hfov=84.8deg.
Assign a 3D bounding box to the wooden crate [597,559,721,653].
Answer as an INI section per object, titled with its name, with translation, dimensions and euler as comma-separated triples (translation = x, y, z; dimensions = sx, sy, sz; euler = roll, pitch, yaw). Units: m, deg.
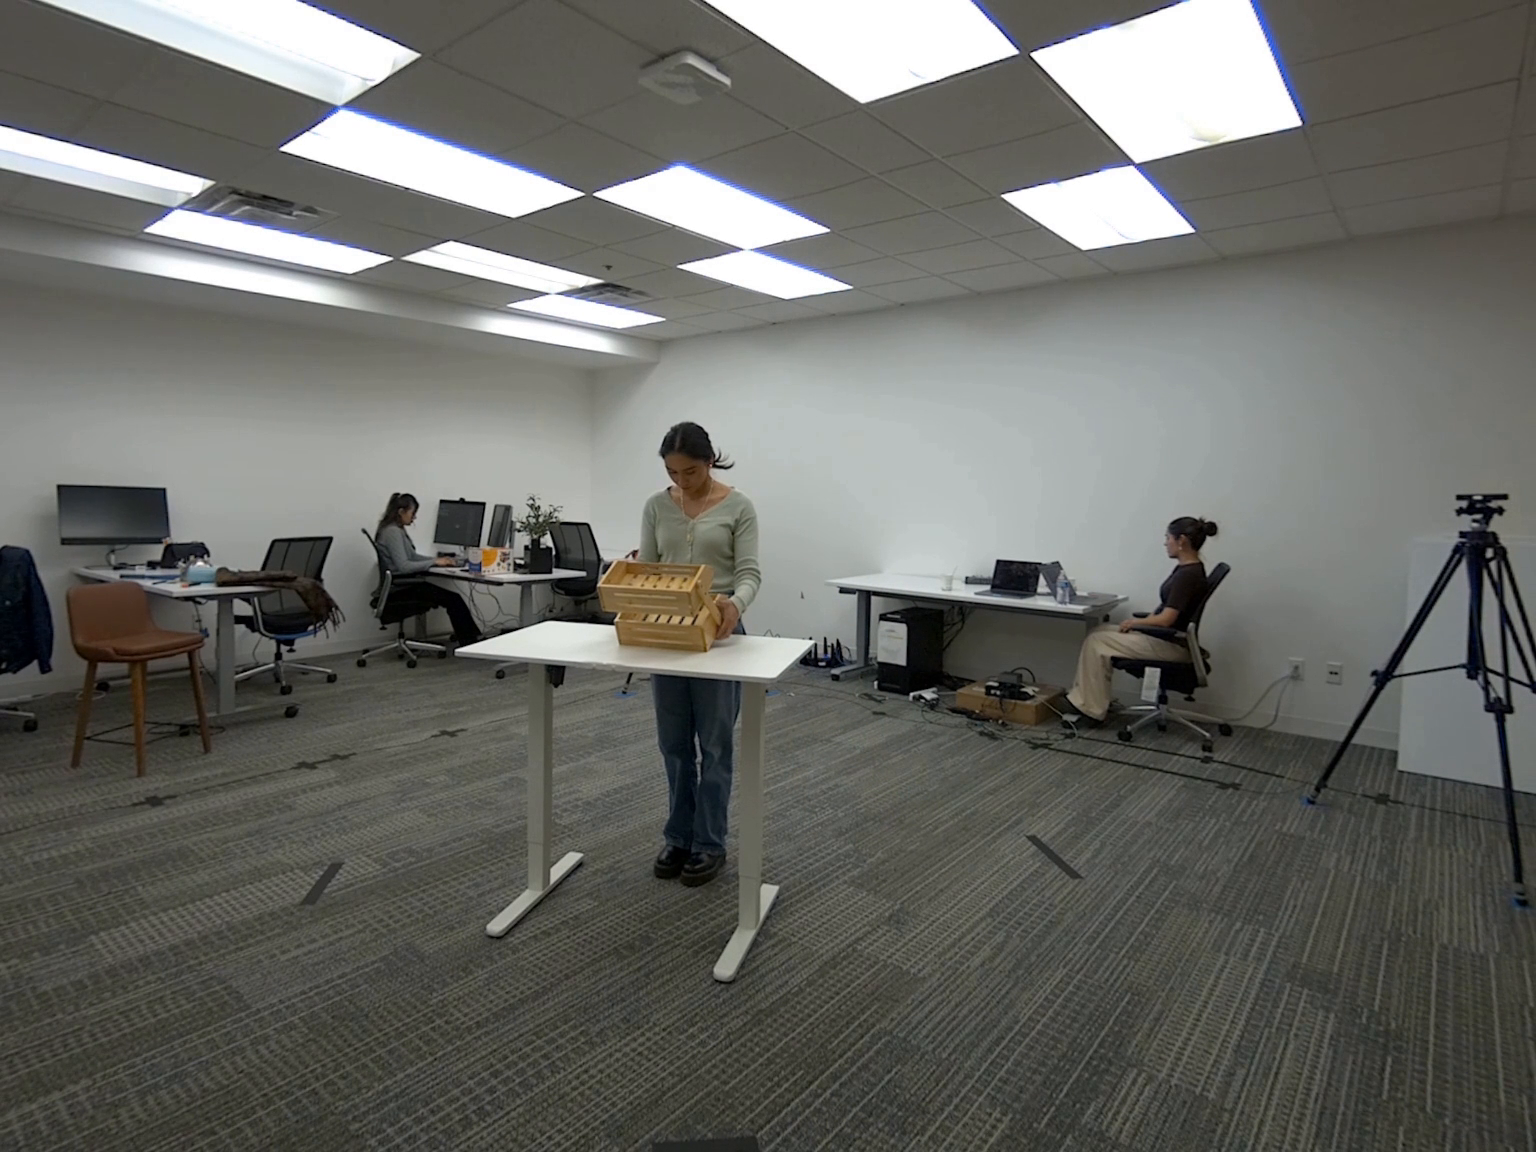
[wooden crate]
translation = -0.335, 0.060, 2.694
dimensions = 0.330, 0.266, 0.305
euler = 2, 32, 16
